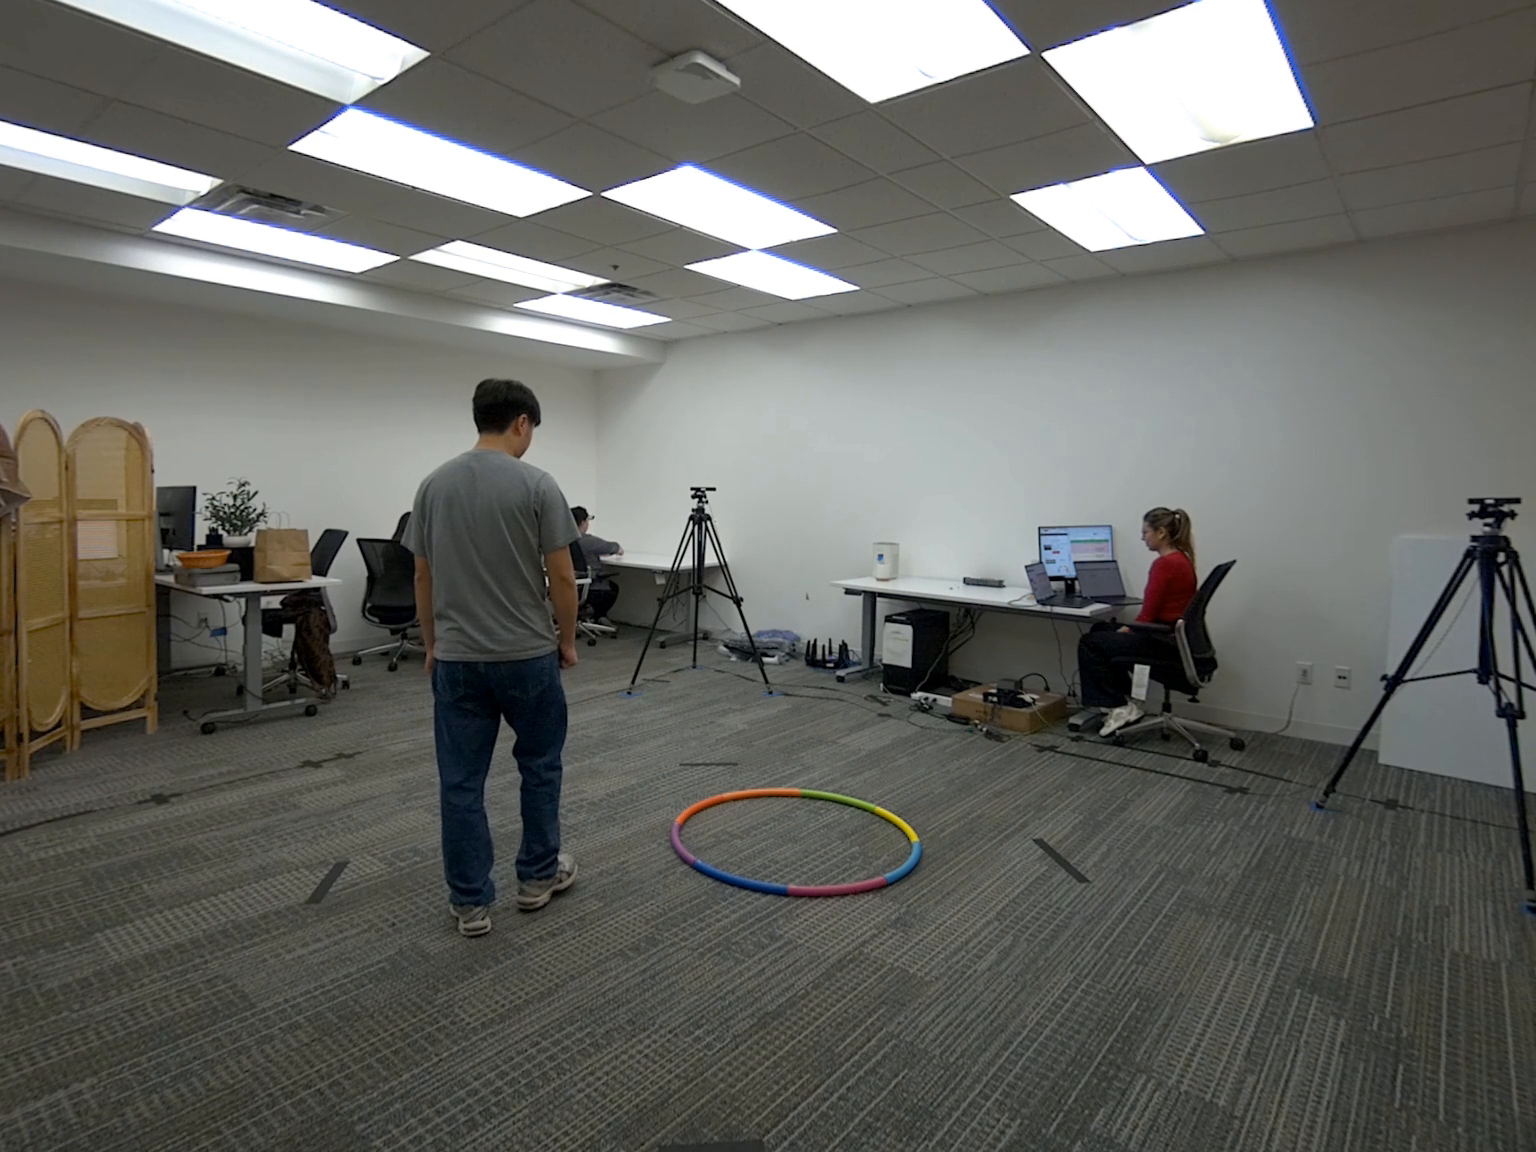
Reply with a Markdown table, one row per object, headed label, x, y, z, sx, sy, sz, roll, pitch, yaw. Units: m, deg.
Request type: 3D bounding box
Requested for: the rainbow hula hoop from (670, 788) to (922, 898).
| label | x | y | z | sx | sy | sz | roll | pitch | yaw |
| --- | --- | --- | --- | --- | --- | --- | --- | --- | --- |
| rainbow hula hoop | 0.096 | 1.017 | 3.379 | 0.978 | 0.035 | 0.984 | 1 | 6 | -2 |
